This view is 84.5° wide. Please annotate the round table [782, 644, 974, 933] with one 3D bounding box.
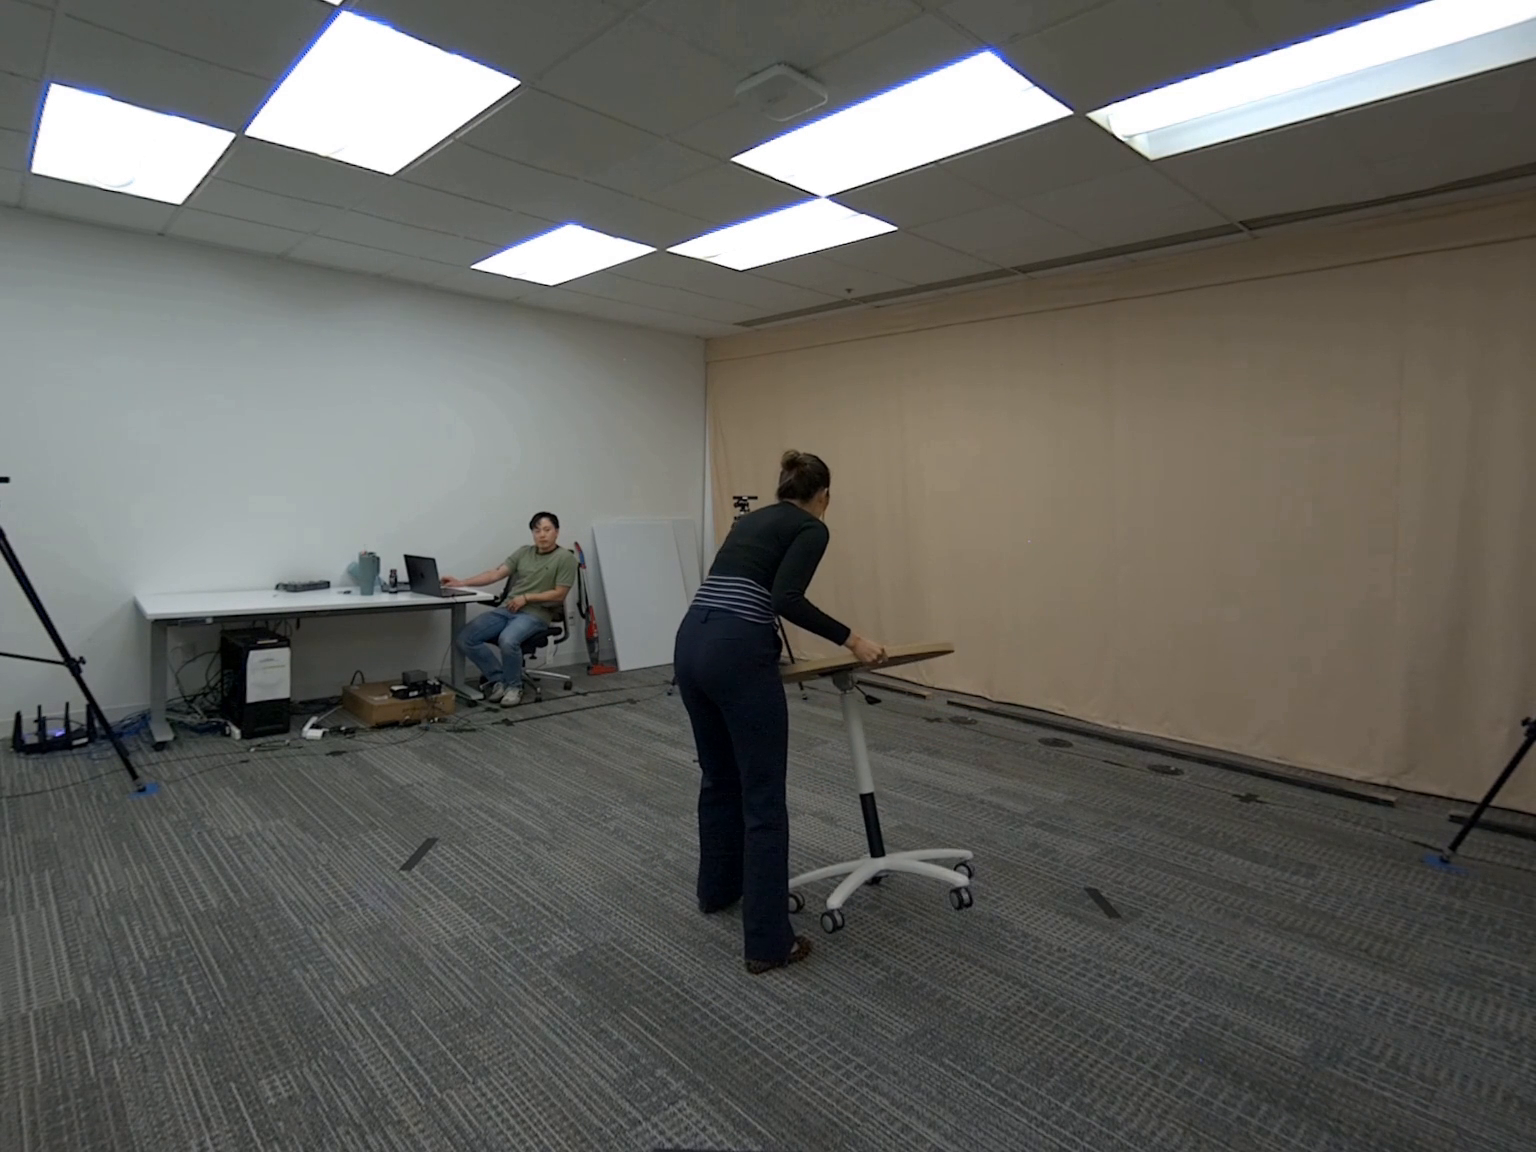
[{"bbox_3d":[0.319,0.688,2.831,0.762,0.802,0.758,-9,-11,-3],"label":"round table"}]
